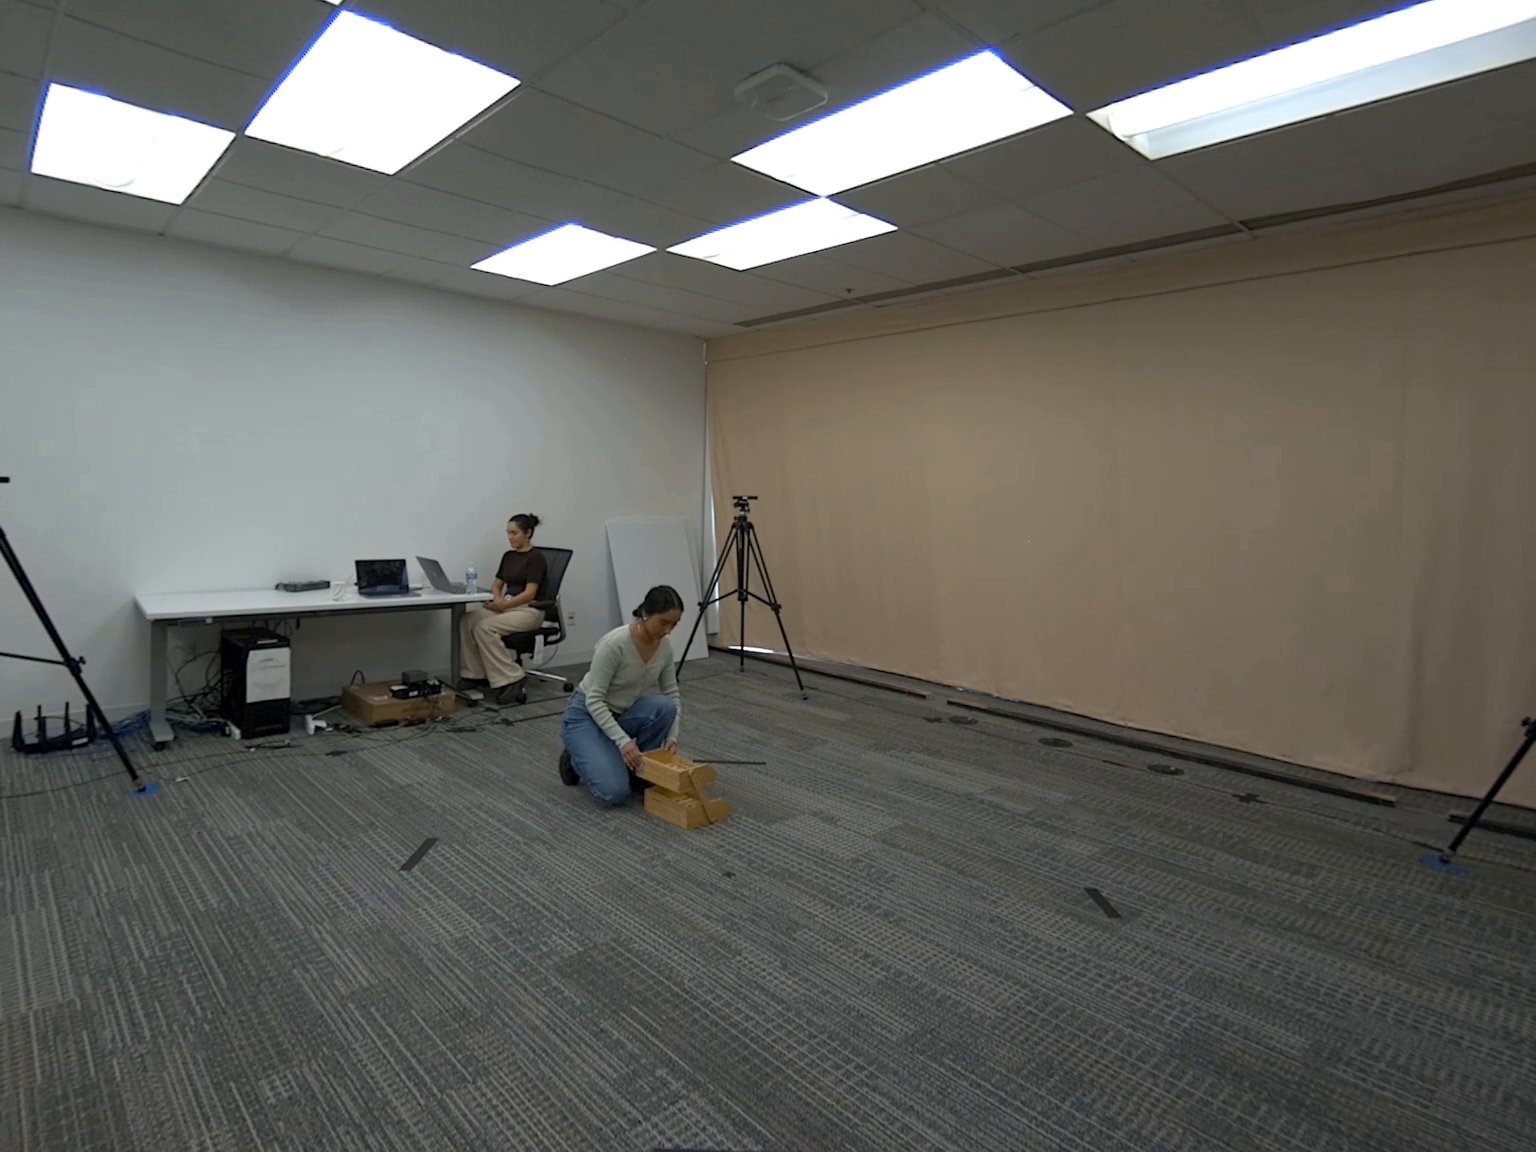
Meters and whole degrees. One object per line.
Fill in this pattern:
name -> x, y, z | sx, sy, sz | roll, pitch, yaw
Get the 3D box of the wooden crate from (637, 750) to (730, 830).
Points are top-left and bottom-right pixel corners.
wooden crate -> -0.376, 0.913, 3.684 | 0.295, 0.272, 0.333 | -4, 7, -45
